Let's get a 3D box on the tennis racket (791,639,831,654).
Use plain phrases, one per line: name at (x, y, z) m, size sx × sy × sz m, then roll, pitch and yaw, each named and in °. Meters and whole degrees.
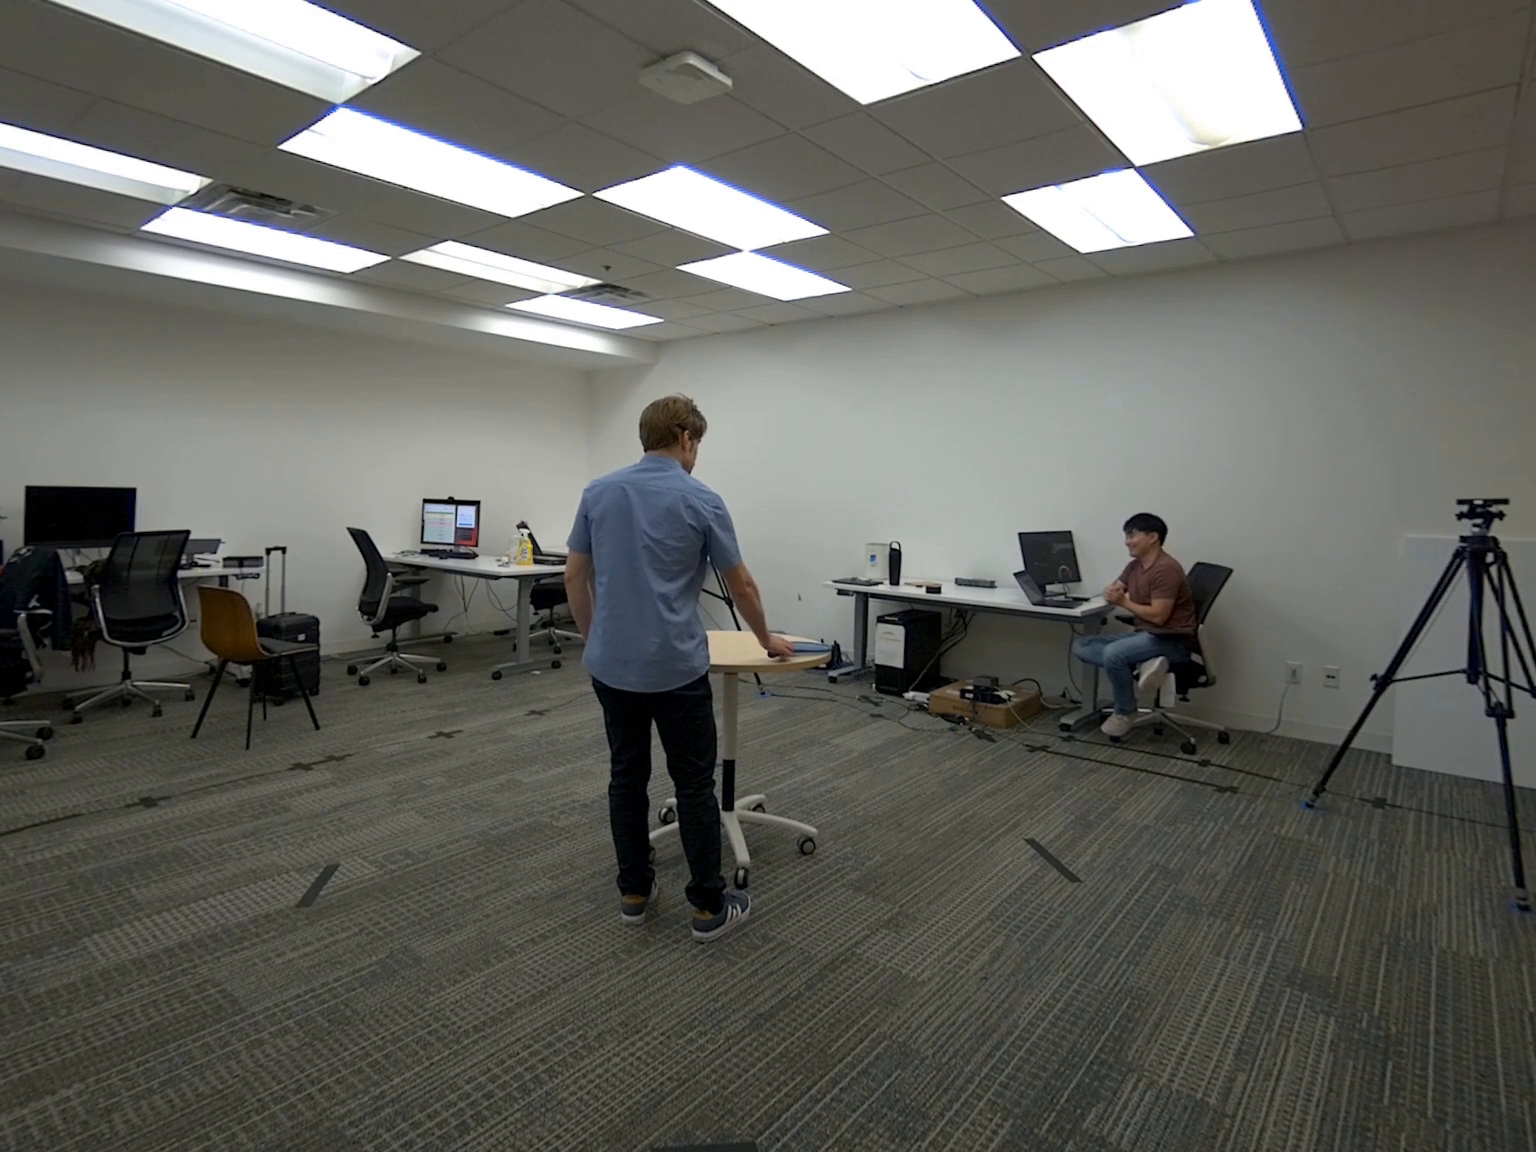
tennis racket at (0.096, 0.268, 3.168) m, size 0.219 × 0.032 × 0.422 m, roll 2°, pitch 2°, yaw 26°
